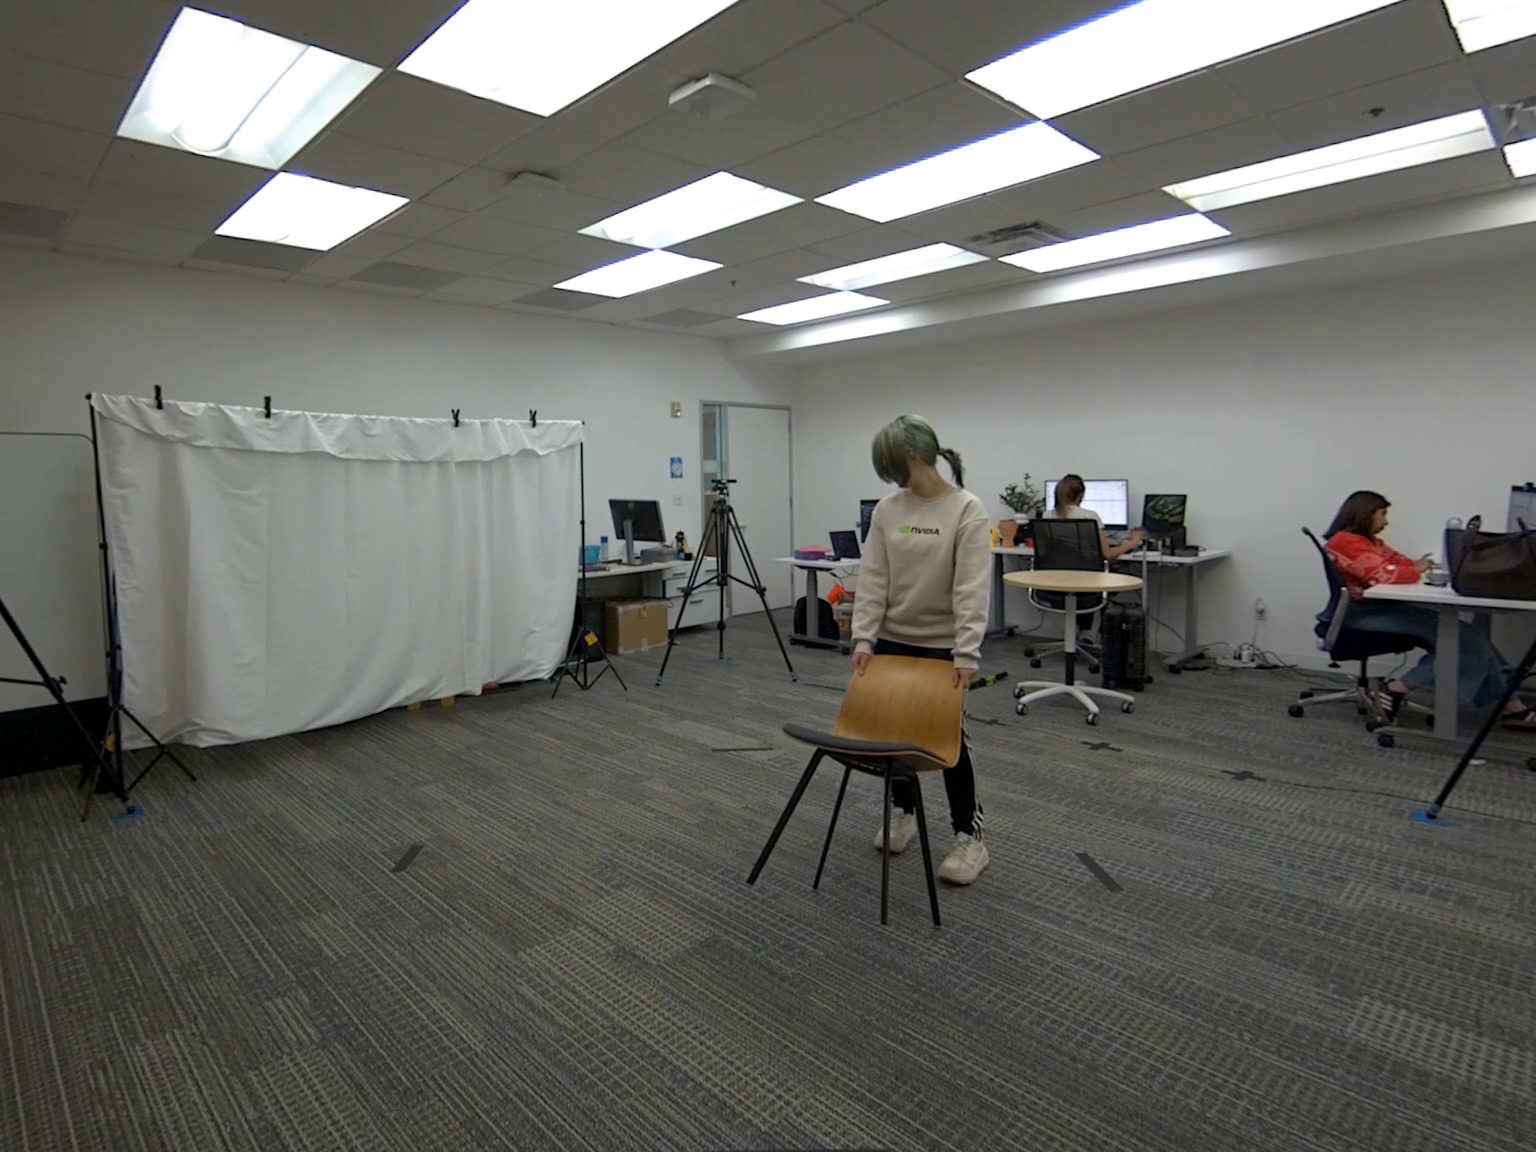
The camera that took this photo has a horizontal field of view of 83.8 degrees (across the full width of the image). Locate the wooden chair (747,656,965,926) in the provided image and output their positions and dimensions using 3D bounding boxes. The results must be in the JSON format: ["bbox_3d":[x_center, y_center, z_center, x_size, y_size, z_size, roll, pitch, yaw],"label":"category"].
[{"bbox_3d":[0.316,0.598,2.713,0.491,0.887,0.503,2,-23,34],"label":"wooden chair"}]
